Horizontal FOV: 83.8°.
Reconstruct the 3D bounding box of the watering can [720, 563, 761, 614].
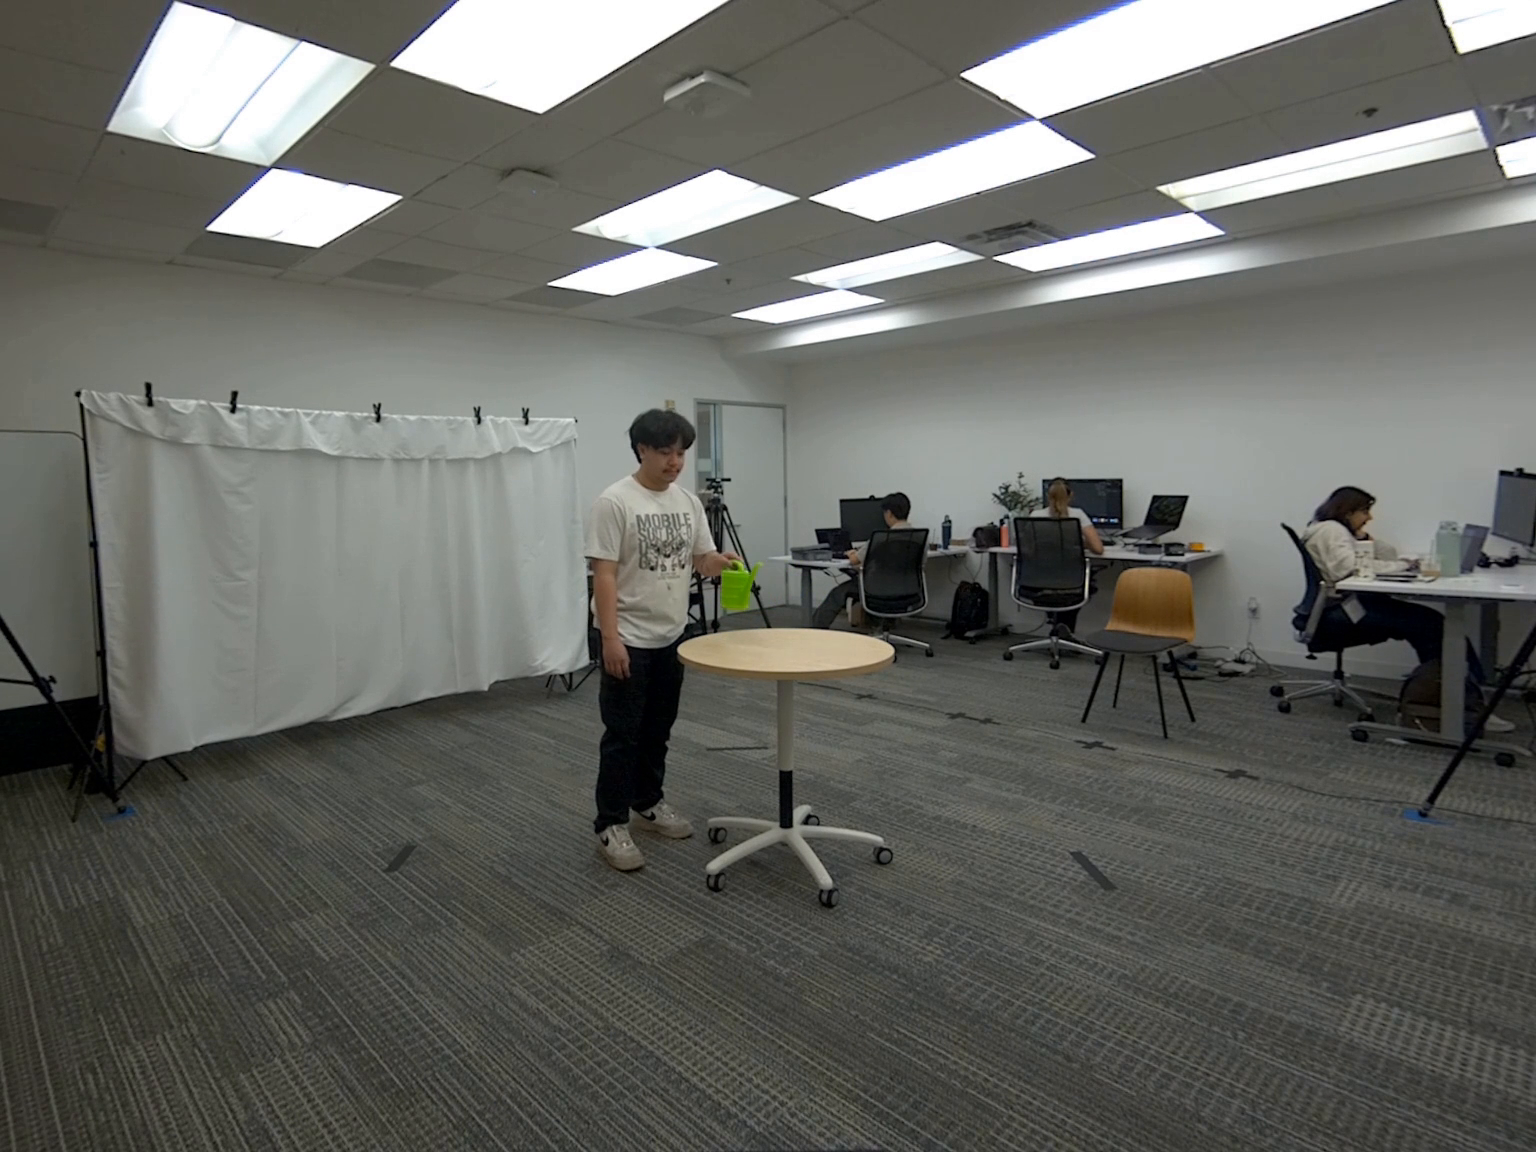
[{"bbox_3d":[-0.112,0.034,3.060,0.097,0.176,0.283,-1,4,-16],"label":"watering can"}]
